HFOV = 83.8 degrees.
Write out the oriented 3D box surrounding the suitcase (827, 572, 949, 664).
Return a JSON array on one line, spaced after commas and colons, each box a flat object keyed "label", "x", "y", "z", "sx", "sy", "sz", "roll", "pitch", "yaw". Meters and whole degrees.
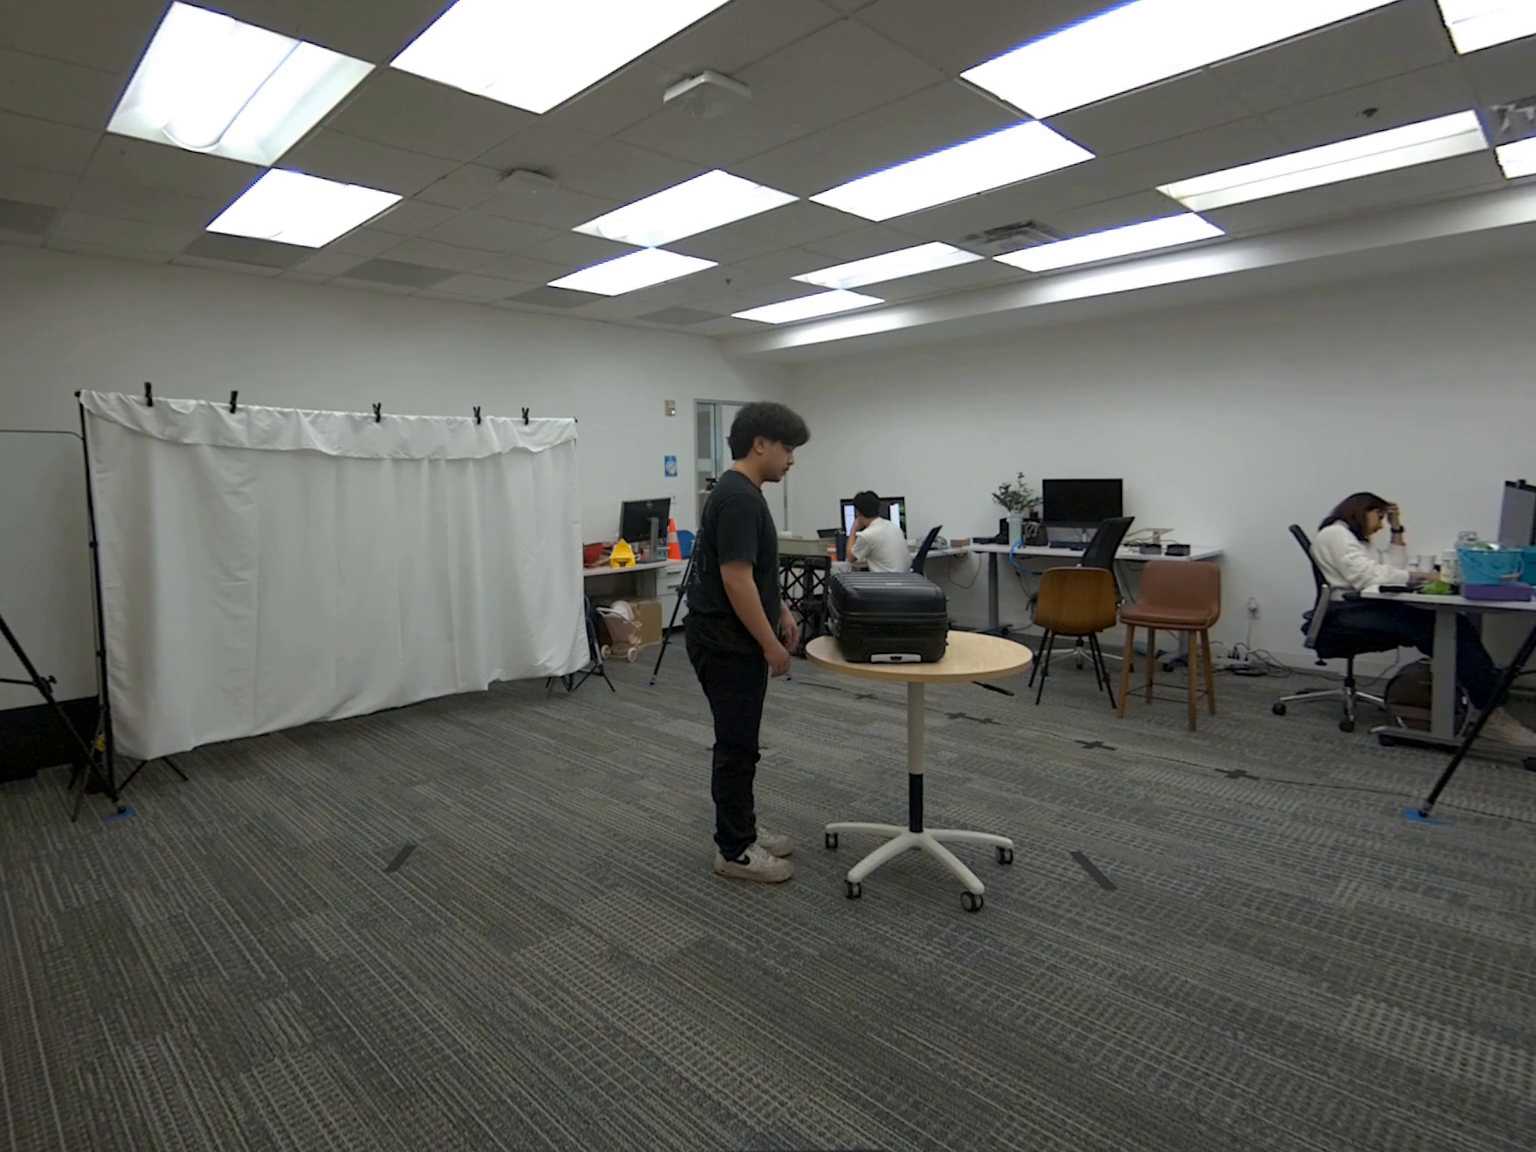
[{"label": "suitcase", "x": 0.409, "y": 0.135, "z": 2.980, "sx": 0.375, "sy": 0.247, "sz": 0.552, "roll": 2, "pitch": 6, "yaw": -1}]
